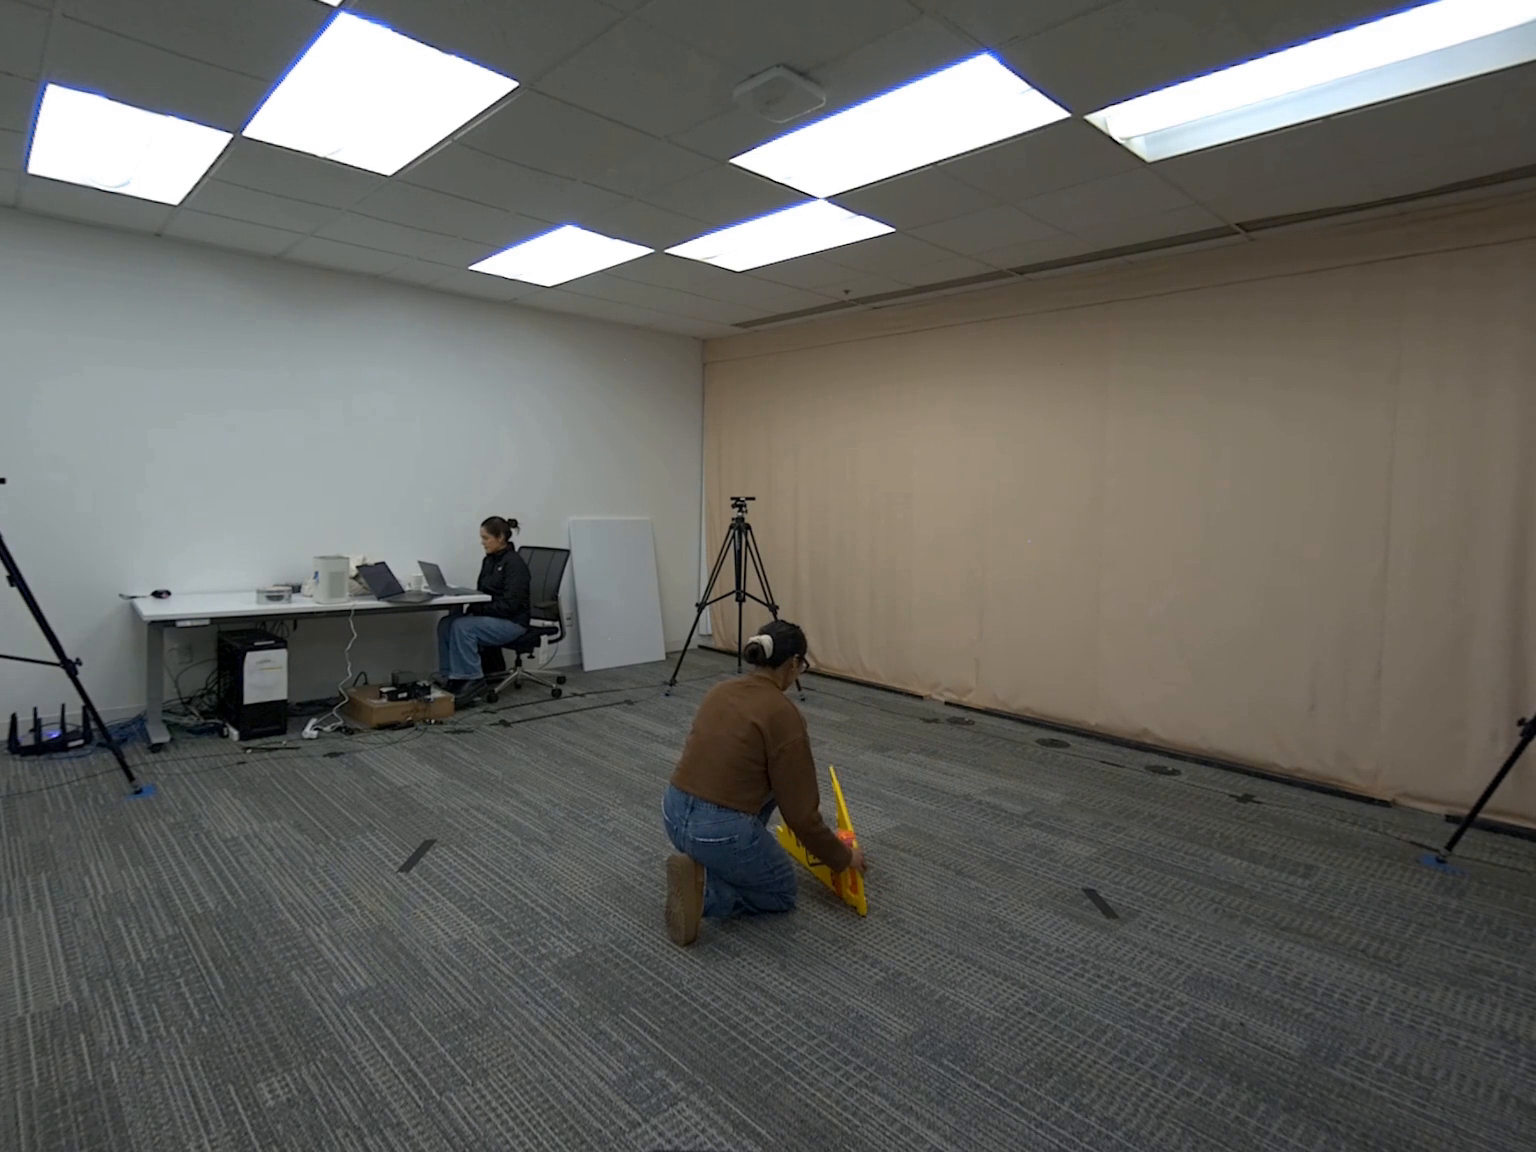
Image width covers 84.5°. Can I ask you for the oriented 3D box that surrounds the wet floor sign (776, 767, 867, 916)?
[{"bbox_3d":[0.225,0.983,3.105,0.287,0.279,0.657,-11,13,-12],"label":"wet floor sign"}]
